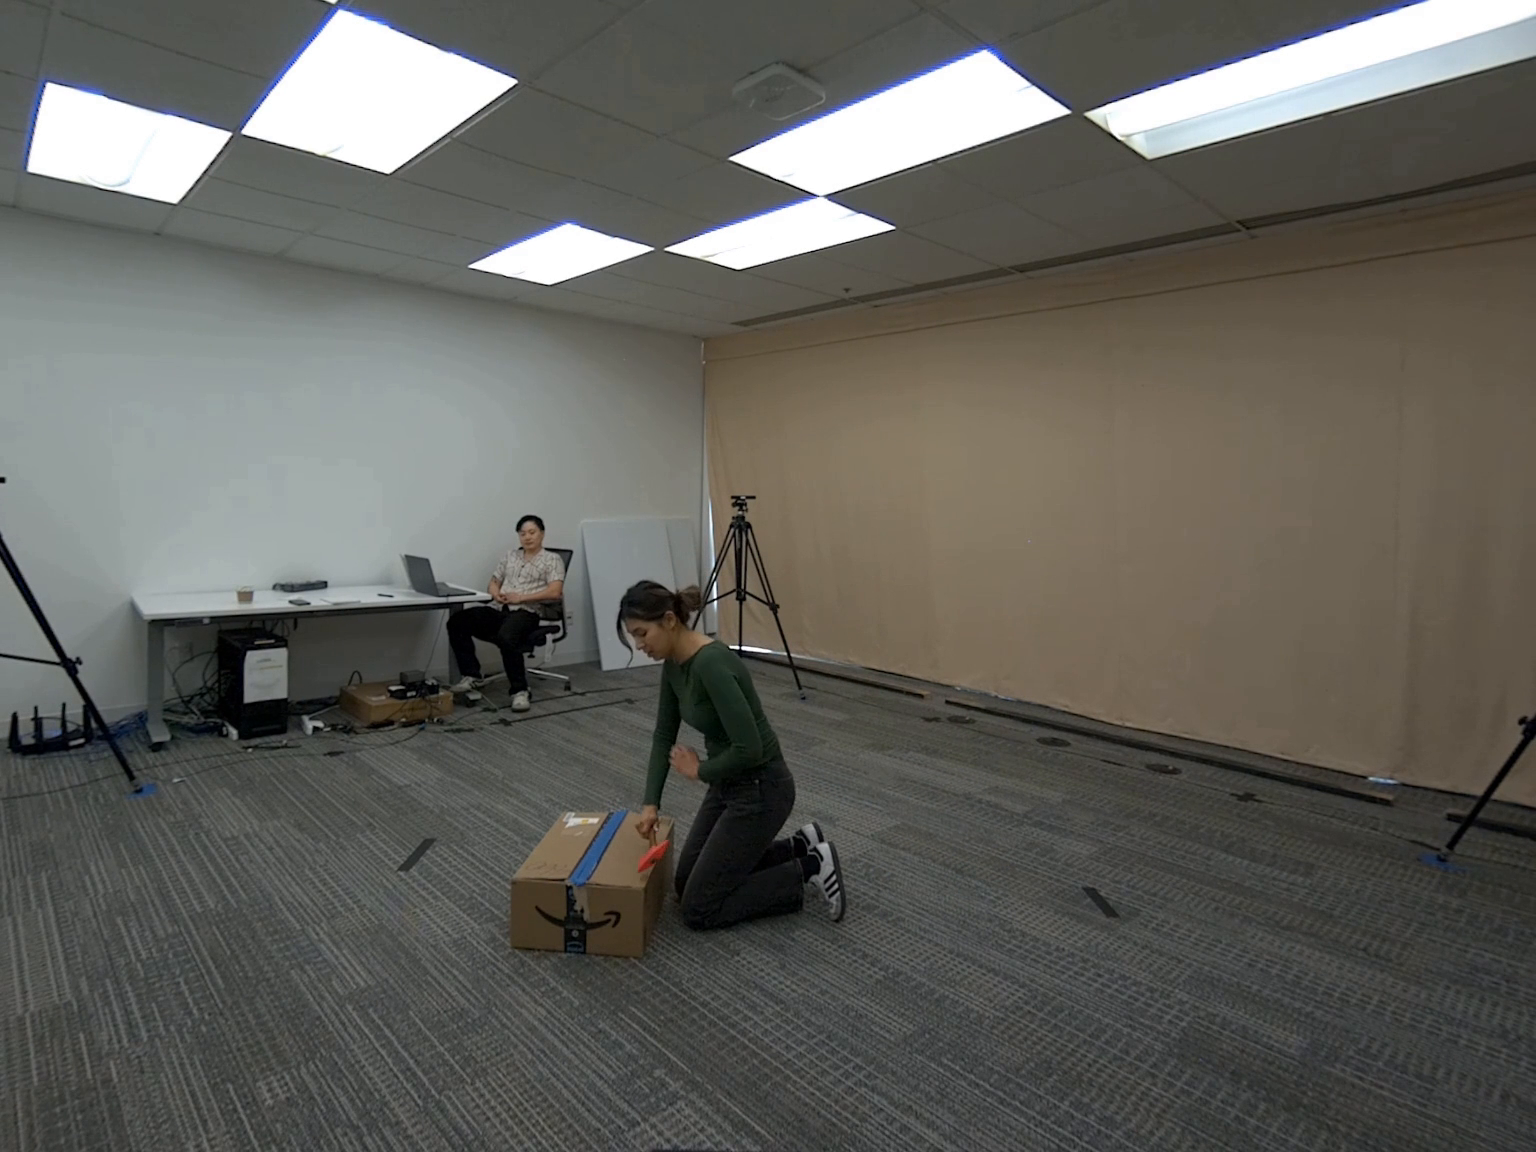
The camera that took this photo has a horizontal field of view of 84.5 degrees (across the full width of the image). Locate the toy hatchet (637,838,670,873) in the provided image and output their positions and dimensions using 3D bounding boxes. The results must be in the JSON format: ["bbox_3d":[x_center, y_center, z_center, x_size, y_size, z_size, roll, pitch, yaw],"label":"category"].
[{"bbox_3d":[-0.409,0.861,2.656,0.029,0.131,0.273,45,-17,-12],"label":"toy hatchet"}]
